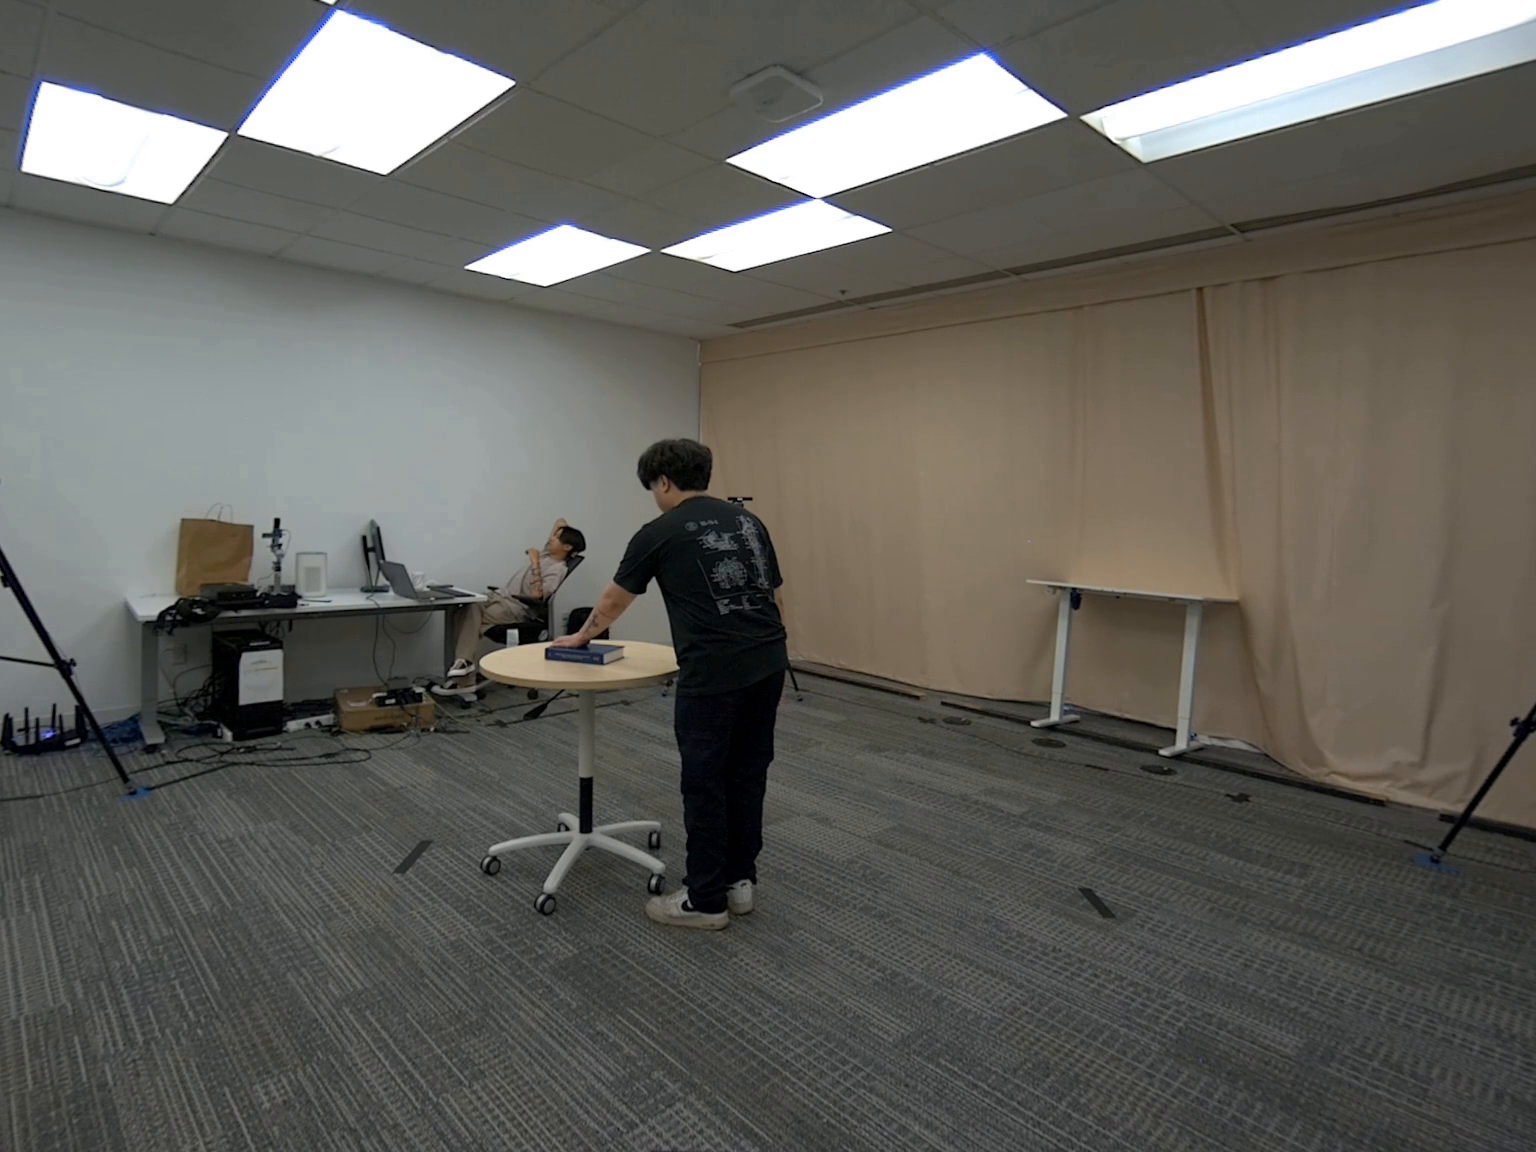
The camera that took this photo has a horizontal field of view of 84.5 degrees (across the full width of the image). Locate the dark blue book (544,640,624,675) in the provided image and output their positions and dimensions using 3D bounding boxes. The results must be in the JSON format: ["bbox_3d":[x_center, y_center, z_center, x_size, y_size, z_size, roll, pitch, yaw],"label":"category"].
[{"bbox_3d":[-0.681,0.284,3.094,0.249,0.045,0.161,2,6,19],"label":"dark blue book"}]
